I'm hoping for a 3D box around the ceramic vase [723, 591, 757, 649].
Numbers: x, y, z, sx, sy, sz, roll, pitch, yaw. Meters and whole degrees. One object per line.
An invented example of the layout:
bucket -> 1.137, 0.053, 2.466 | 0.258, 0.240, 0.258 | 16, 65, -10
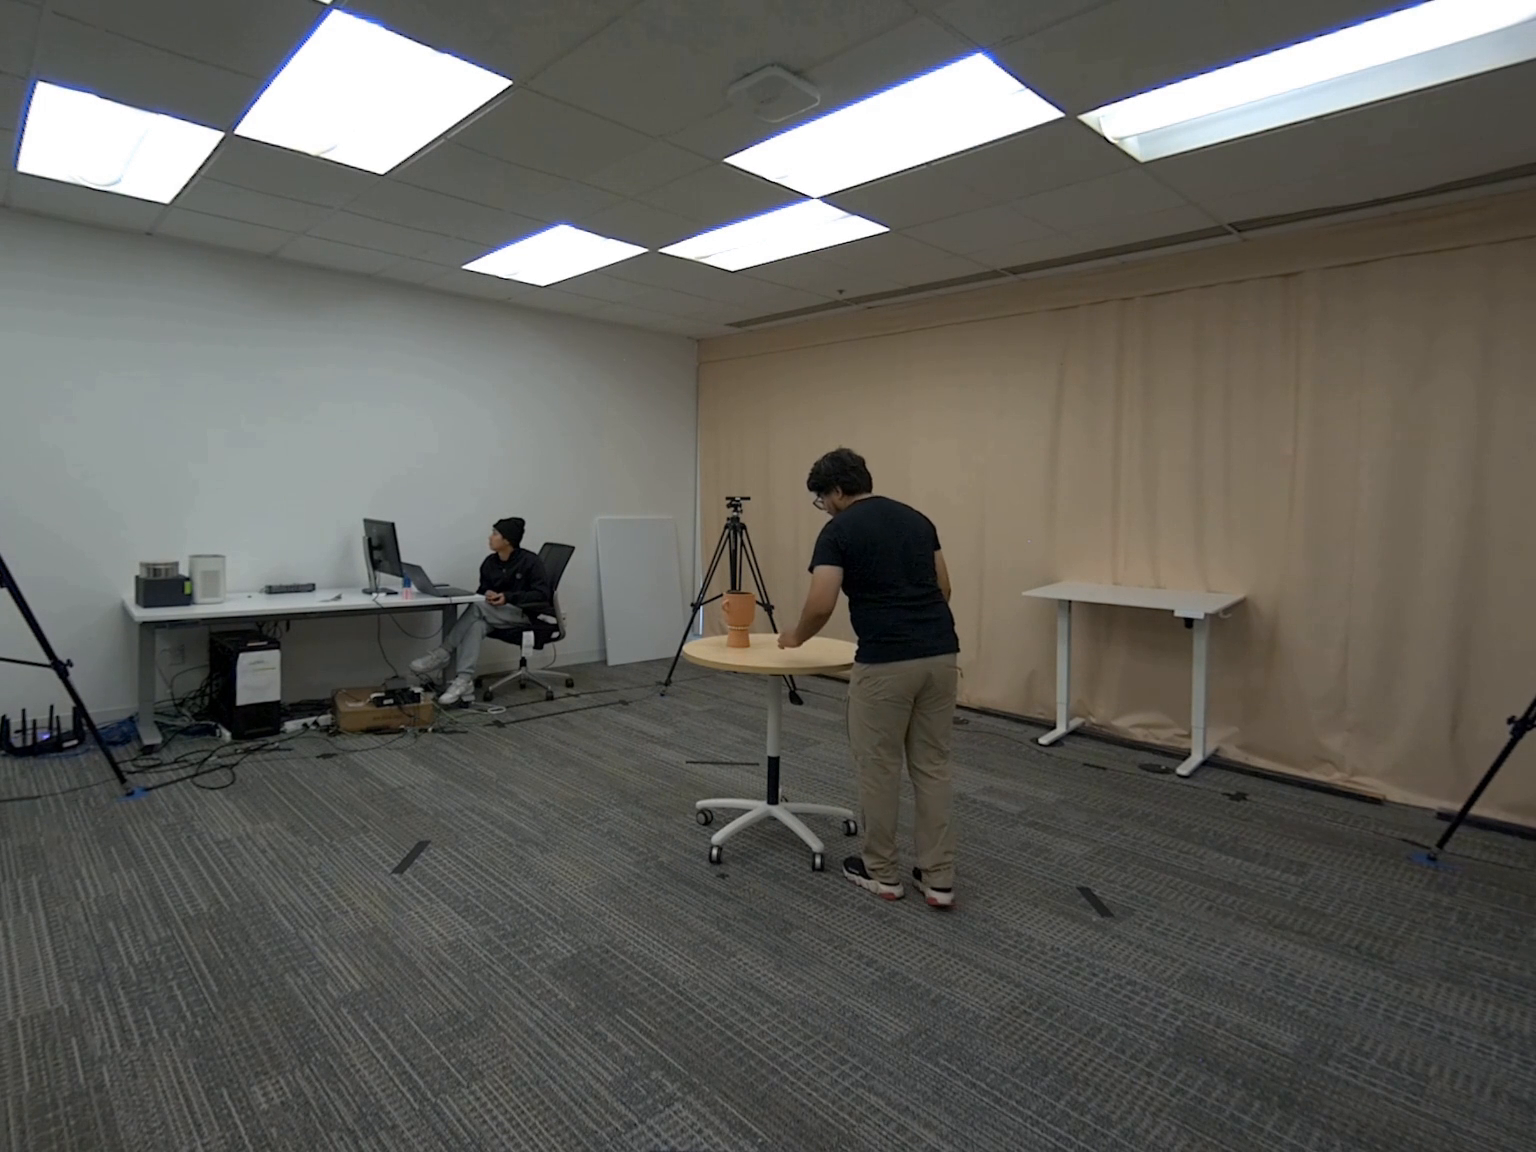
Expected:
ceramic vase -> -0.129, 0.182, 3.491 | 0.157, 0.219, 0.136 | 1, 4, -10
